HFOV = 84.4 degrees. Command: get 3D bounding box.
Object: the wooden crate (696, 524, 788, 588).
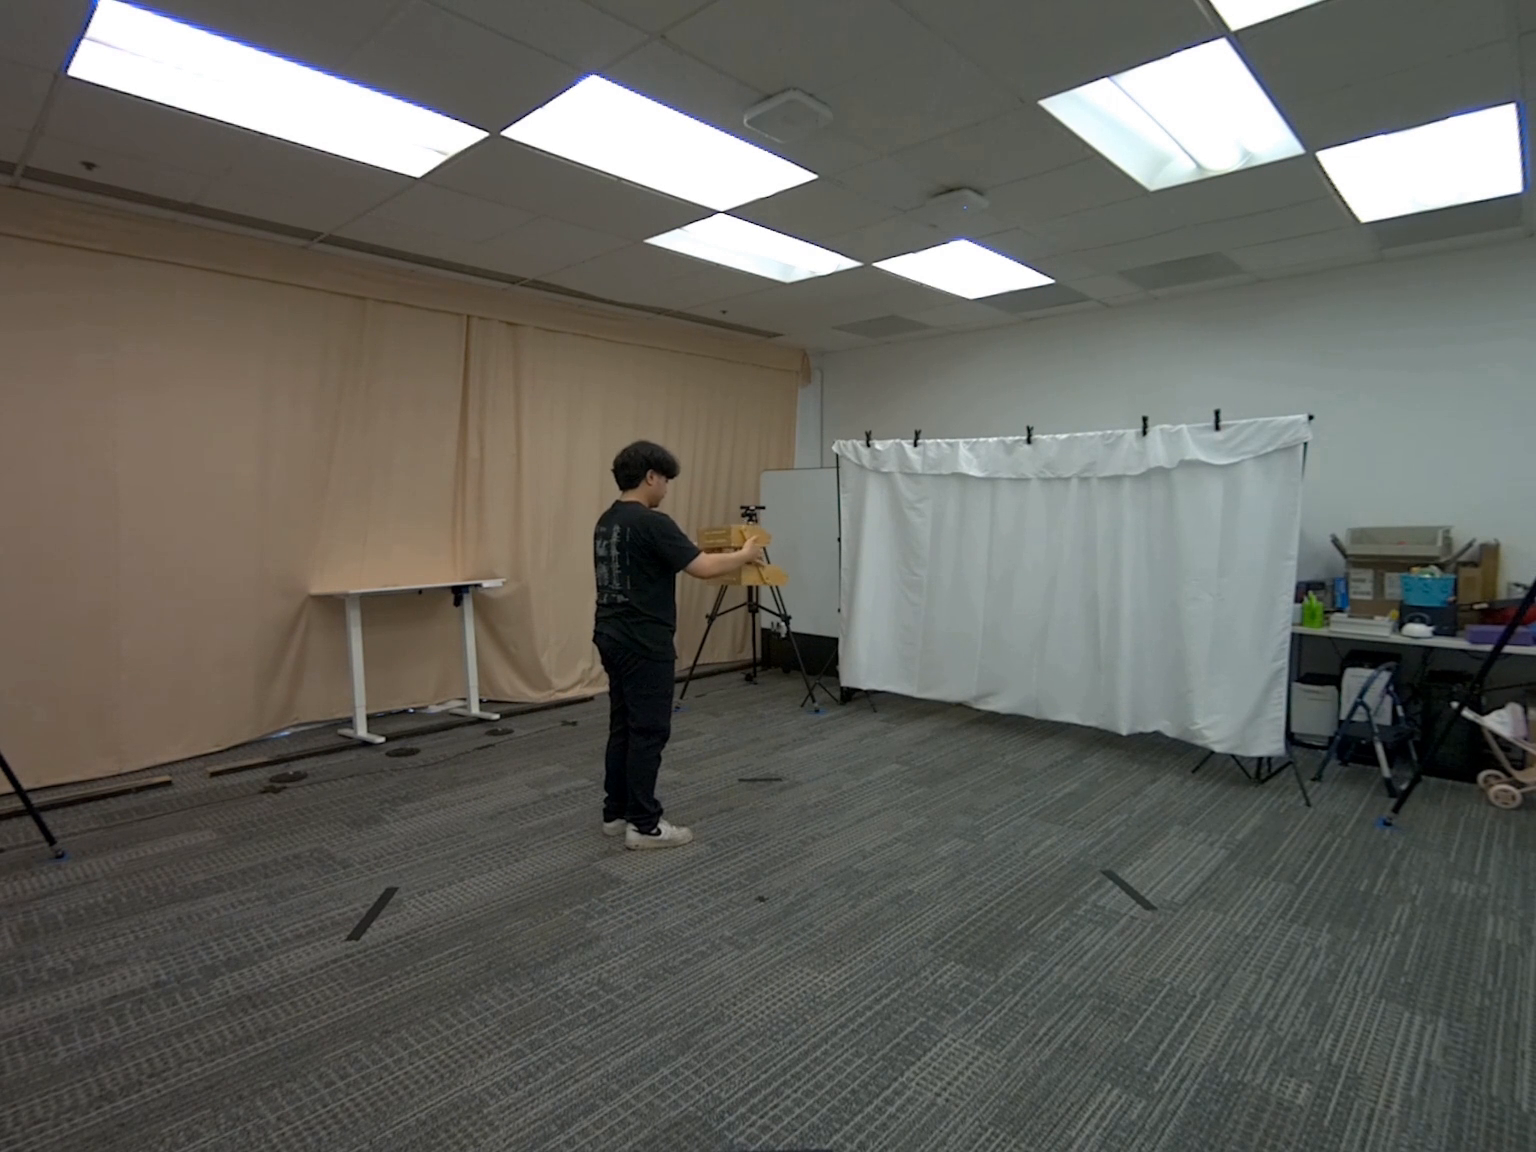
[{"bbox_3d":[-0.113,-0.081,3.808,0.293,0.273,0.333,-1,-1,-32],"label":"wooden crate"}]
